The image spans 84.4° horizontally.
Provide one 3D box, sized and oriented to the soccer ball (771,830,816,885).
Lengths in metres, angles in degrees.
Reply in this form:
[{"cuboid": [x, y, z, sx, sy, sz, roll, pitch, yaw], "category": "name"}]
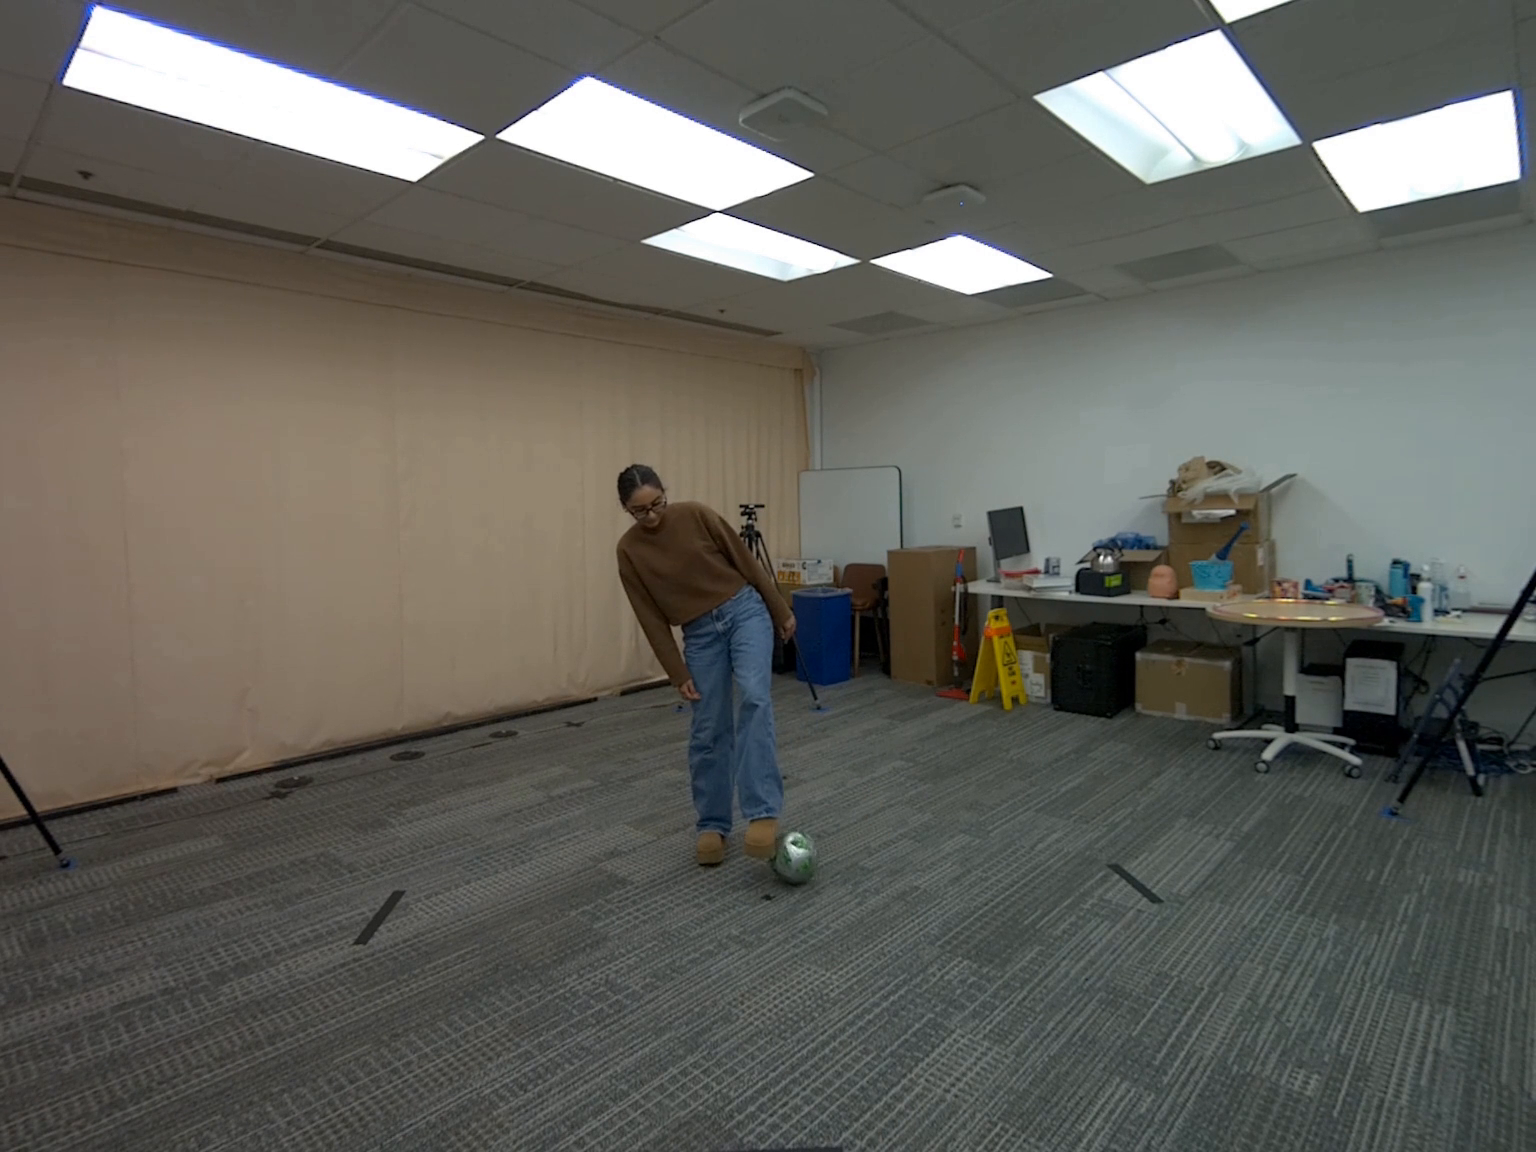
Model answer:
[{"cuboid": [0.101, 1.036, 3.101, 0.187, 0.187, 0.188, -1, 4, -2], "category": "soccer ball"}]
